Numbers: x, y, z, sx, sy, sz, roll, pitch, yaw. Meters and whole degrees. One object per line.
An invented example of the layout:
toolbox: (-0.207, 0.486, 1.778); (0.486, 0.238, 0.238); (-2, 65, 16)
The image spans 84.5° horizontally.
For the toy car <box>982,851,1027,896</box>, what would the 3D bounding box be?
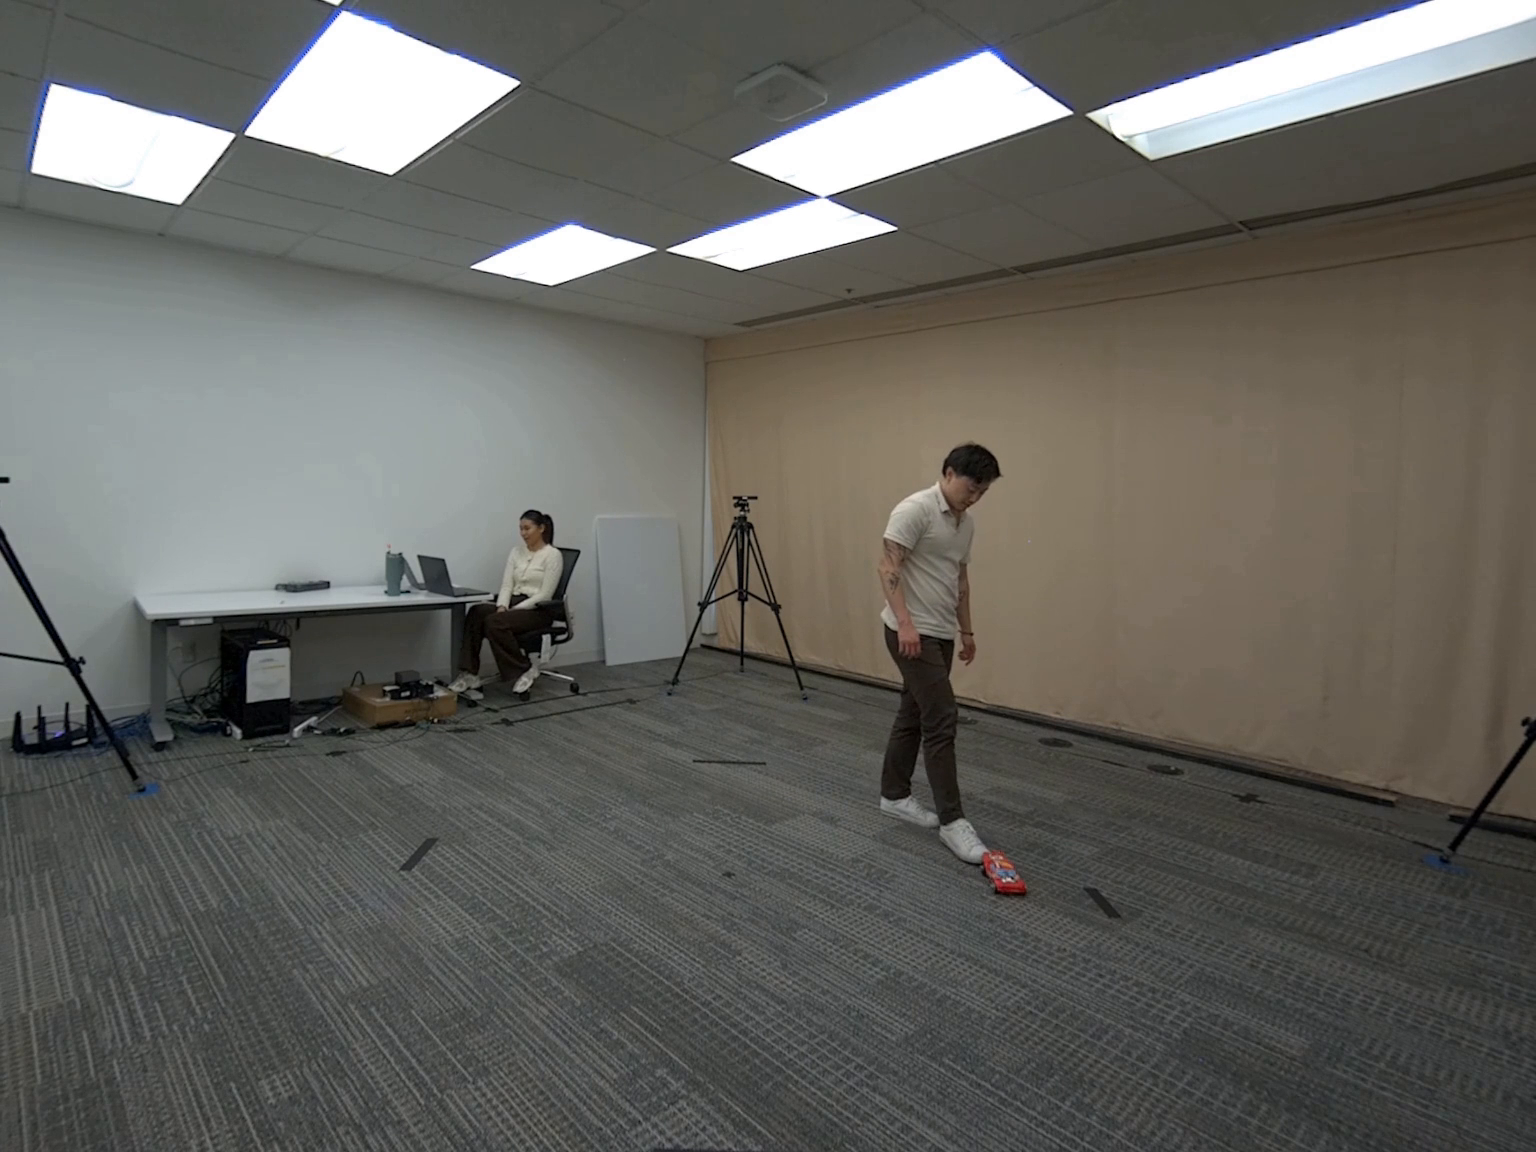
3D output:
toy car: (0.848, 1.100, 3.111); (0.130, 0.082, 0.257); (2, 17, 0)
